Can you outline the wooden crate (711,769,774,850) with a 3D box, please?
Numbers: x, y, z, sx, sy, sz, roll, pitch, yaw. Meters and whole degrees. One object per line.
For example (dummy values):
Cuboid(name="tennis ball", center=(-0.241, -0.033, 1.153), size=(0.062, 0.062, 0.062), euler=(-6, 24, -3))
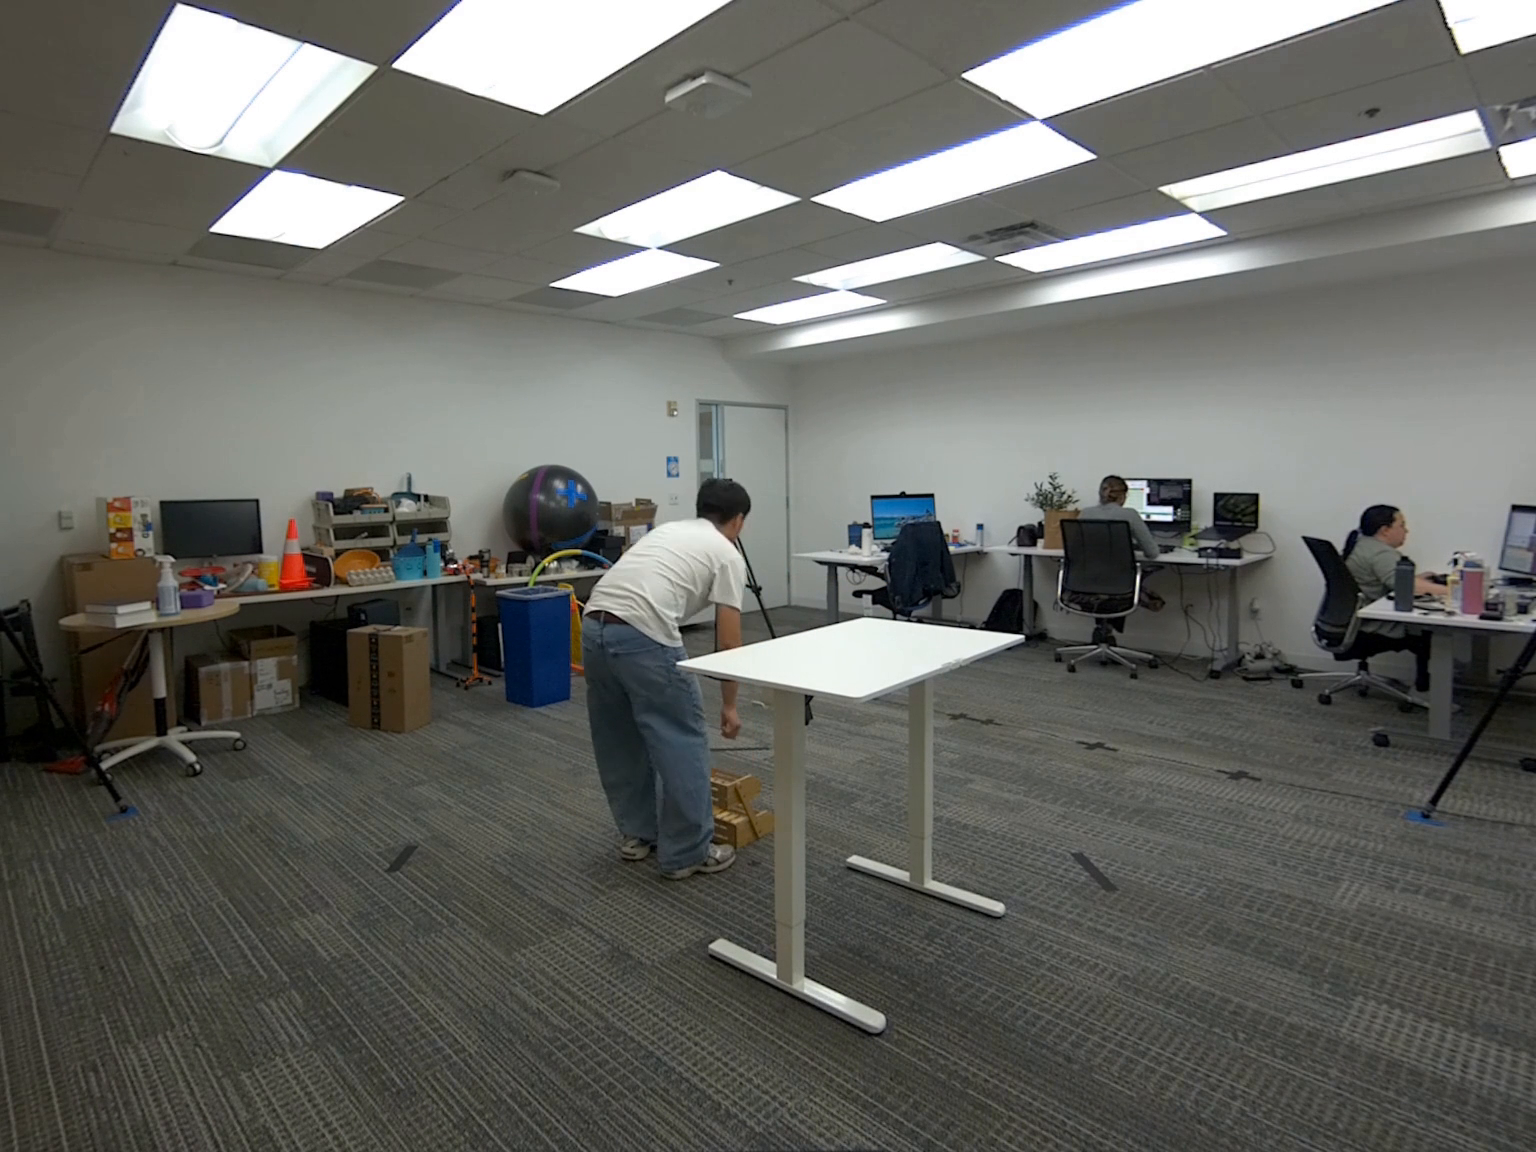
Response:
Cuboid(name="wooden crate", center=(-0.173, 0.879, 3.390), size=(0.334, 0.272, 0.294), euler=(3, 7, 39))
